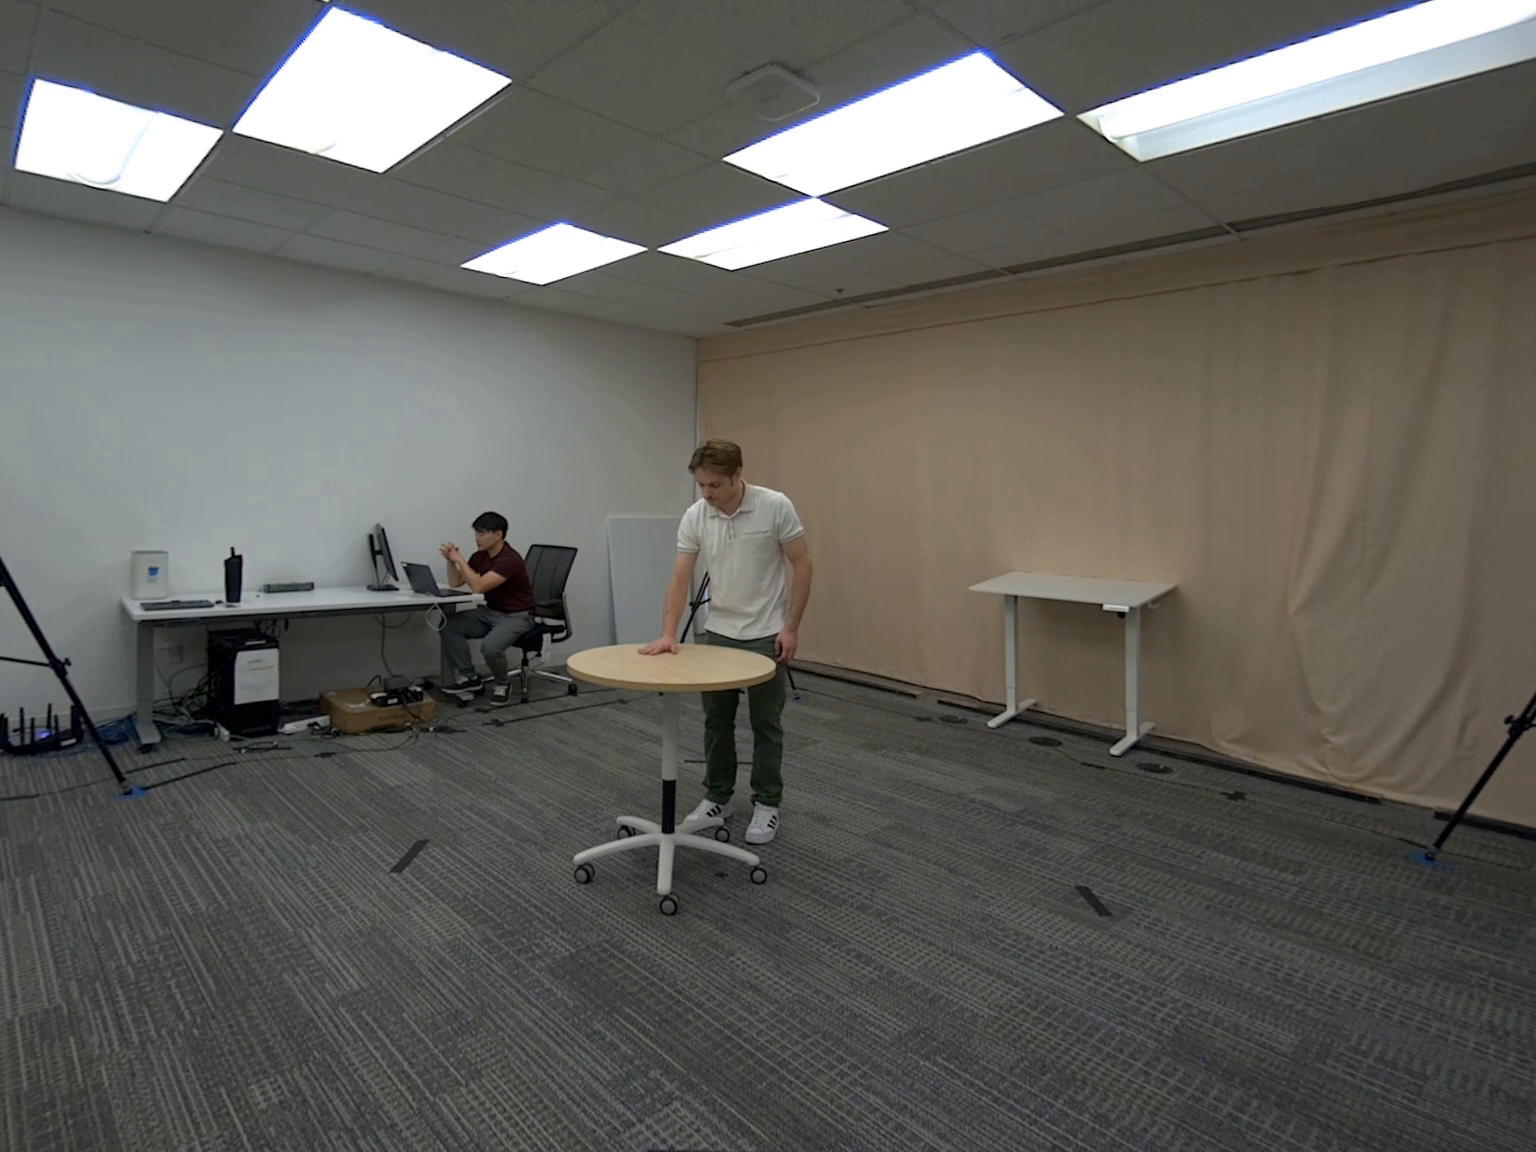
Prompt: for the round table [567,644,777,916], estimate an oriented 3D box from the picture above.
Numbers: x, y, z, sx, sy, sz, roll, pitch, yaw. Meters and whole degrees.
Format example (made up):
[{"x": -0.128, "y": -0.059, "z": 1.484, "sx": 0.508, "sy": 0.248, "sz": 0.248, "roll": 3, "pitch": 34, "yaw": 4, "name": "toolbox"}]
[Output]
[{"x": -0.386, "y": 0.702, "z": 3.119, "sx": 0.784, "sy": 0.785, "sz": 0.787, "roll": 2, "pitch": 4, "yaw": -1, "name": "round table"}]
